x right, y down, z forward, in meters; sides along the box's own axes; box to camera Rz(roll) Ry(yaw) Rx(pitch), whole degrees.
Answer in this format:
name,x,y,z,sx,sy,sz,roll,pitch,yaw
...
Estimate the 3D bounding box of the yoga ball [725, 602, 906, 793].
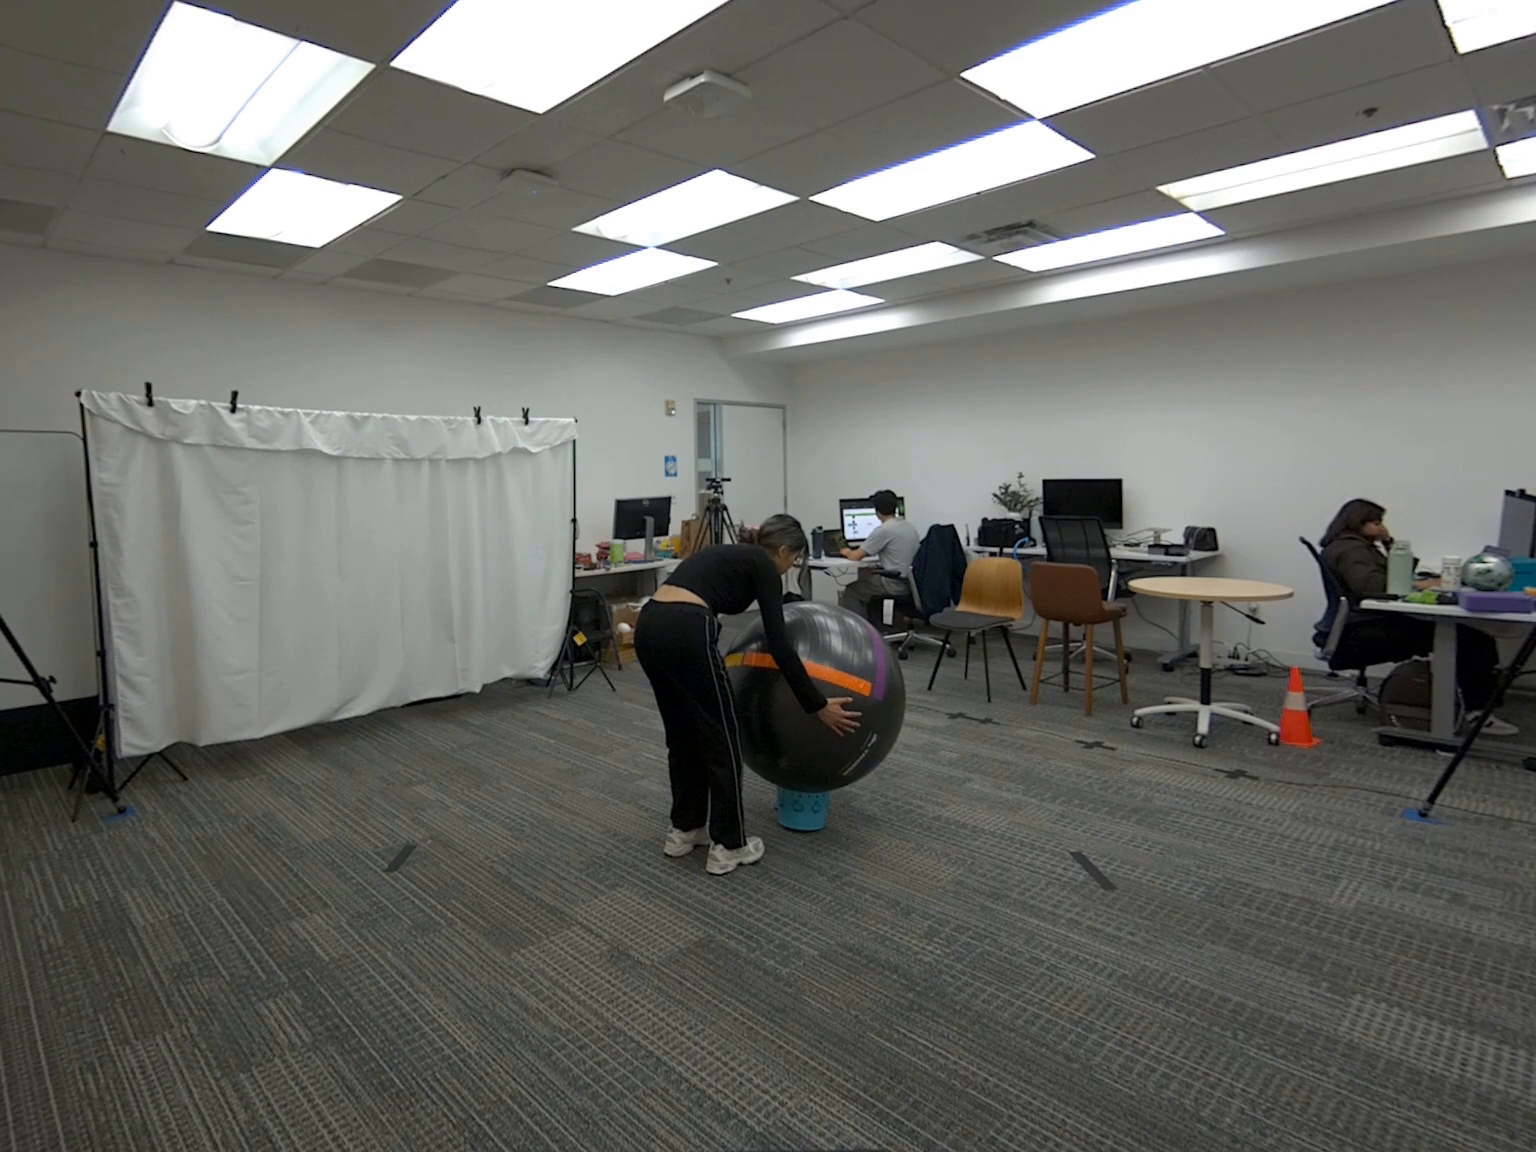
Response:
name,x,y,z,sx,sy,sz,roll,pitch,yaw
yoga ball,0.171,0.488,3.473,0.757,0.755,0.762,-1,5,-2
